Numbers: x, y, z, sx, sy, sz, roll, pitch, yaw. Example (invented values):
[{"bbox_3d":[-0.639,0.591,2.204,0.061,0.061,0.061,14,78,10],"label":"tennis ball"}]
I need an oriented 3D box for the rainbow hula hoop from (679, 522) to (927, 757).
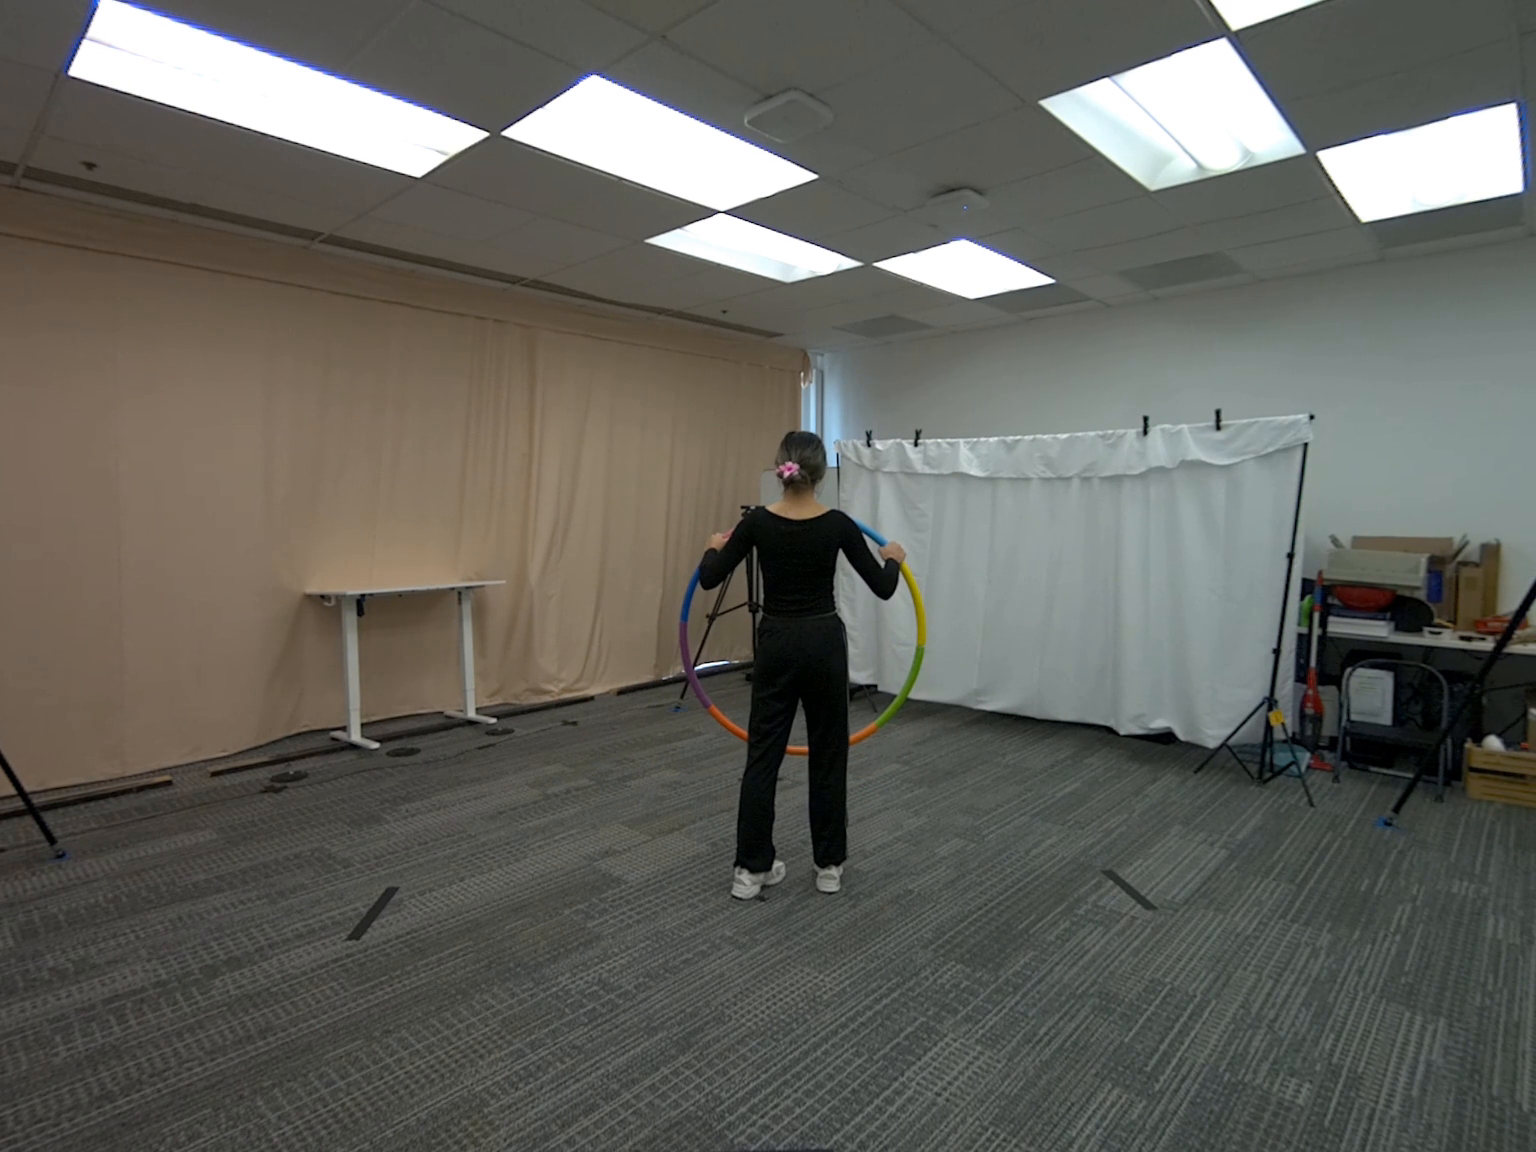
[{"bbox_3d":[0.130,0.225,3.339,0.985,0.975,0.035,1,6,6],"label":"rainbow hula hoop"}]
